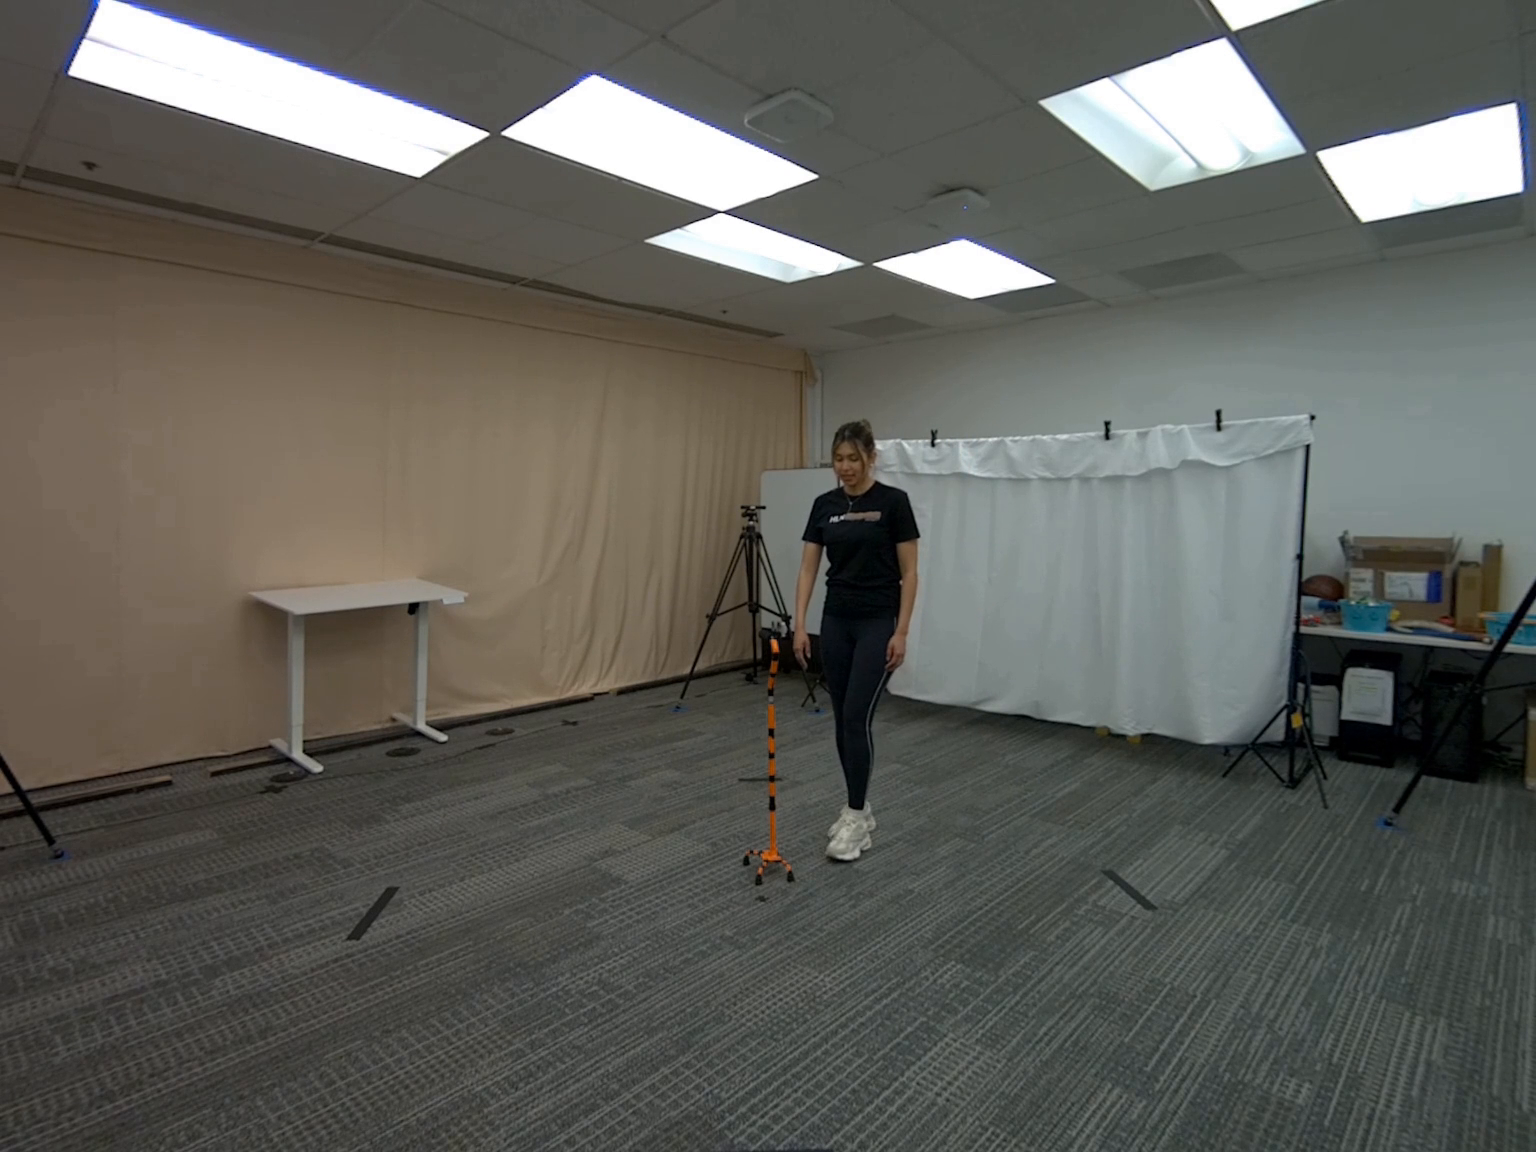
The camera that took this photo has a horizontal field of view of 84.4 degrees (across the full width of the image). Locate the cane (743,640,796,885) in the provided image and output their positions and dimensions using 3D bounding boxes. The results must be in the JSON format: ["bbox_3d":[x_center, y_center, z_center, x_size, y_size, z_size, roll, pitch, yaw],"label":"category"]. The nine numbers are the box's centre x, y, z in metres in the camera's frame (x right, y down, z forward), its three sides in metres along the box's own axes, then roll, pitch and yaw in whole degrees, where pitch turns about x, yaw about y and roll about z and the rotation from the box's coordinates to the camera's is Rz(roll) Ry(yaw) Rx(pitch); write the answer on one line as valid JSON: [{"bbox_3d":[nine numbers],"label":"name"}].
[{"bbox_3d":[0.002,0.673,3.177,0.149,0.906,0.210,-1,3,-17],"label":"cane"}]
